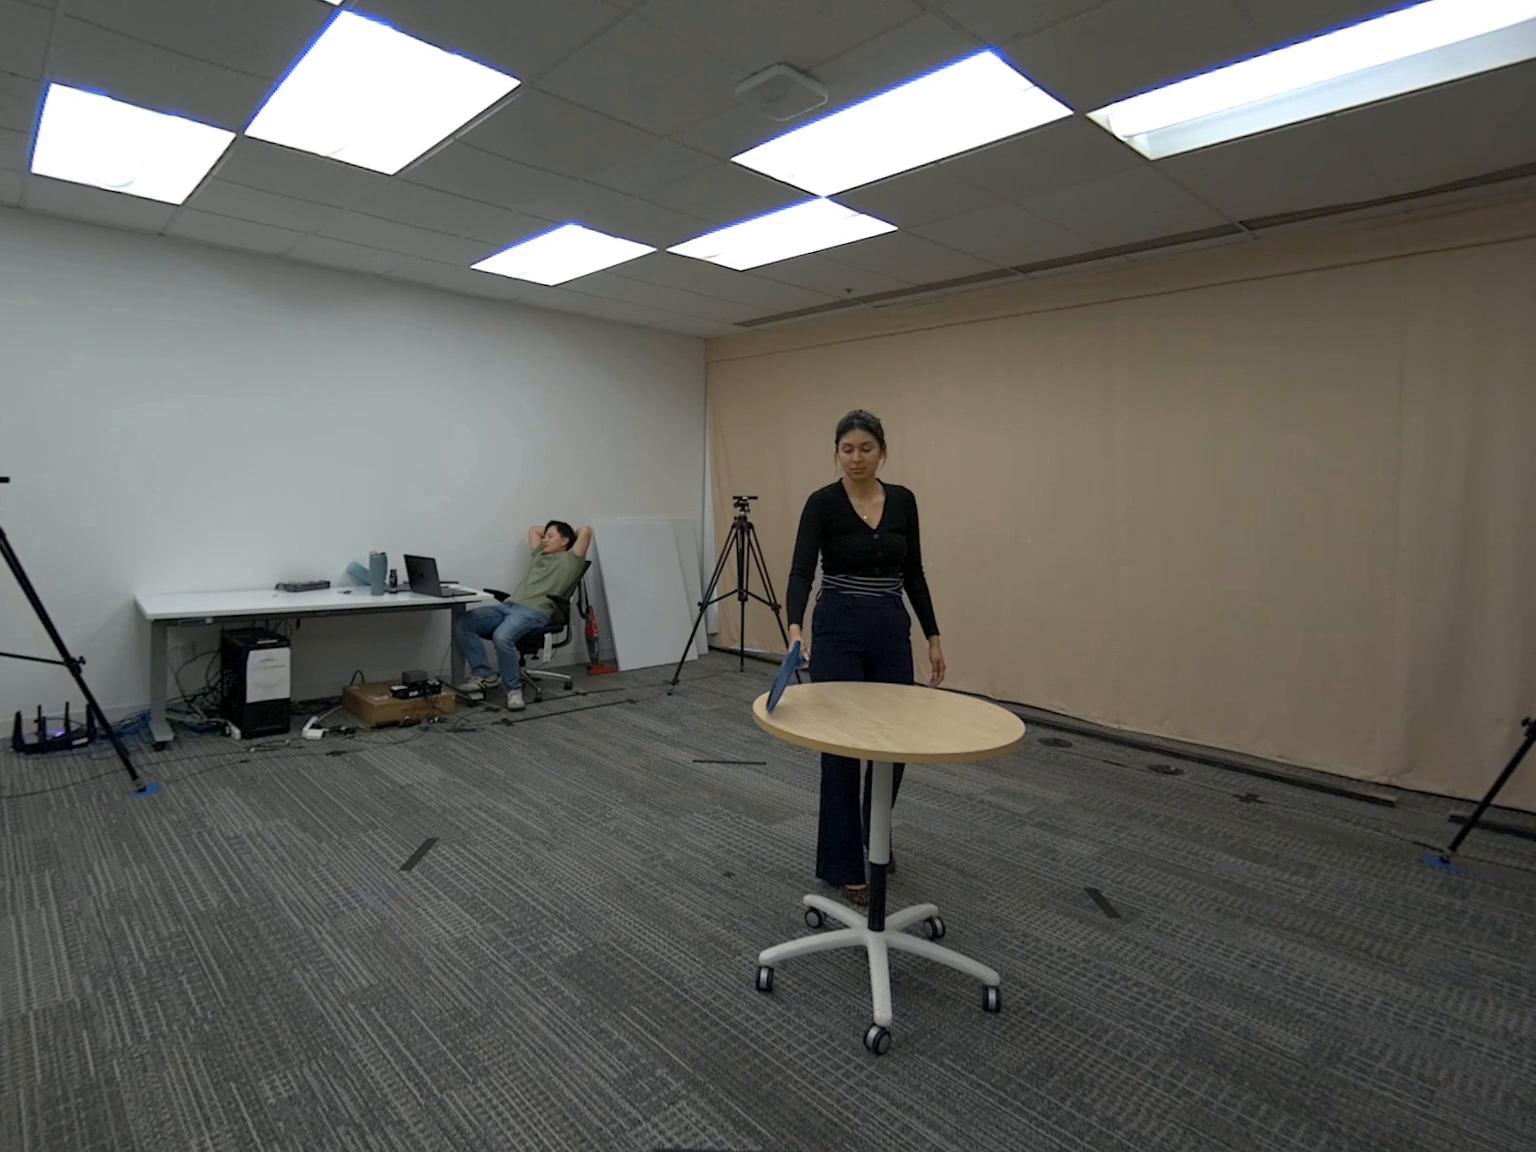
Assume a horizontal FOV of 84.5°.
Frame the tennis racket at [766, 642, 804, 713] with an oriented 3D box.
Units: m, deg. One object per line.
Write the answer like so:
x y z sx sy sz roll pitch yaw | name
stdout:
0.063 0.274 2.469 0.032 0.212 0.430 16 11 11 | tennis racket
